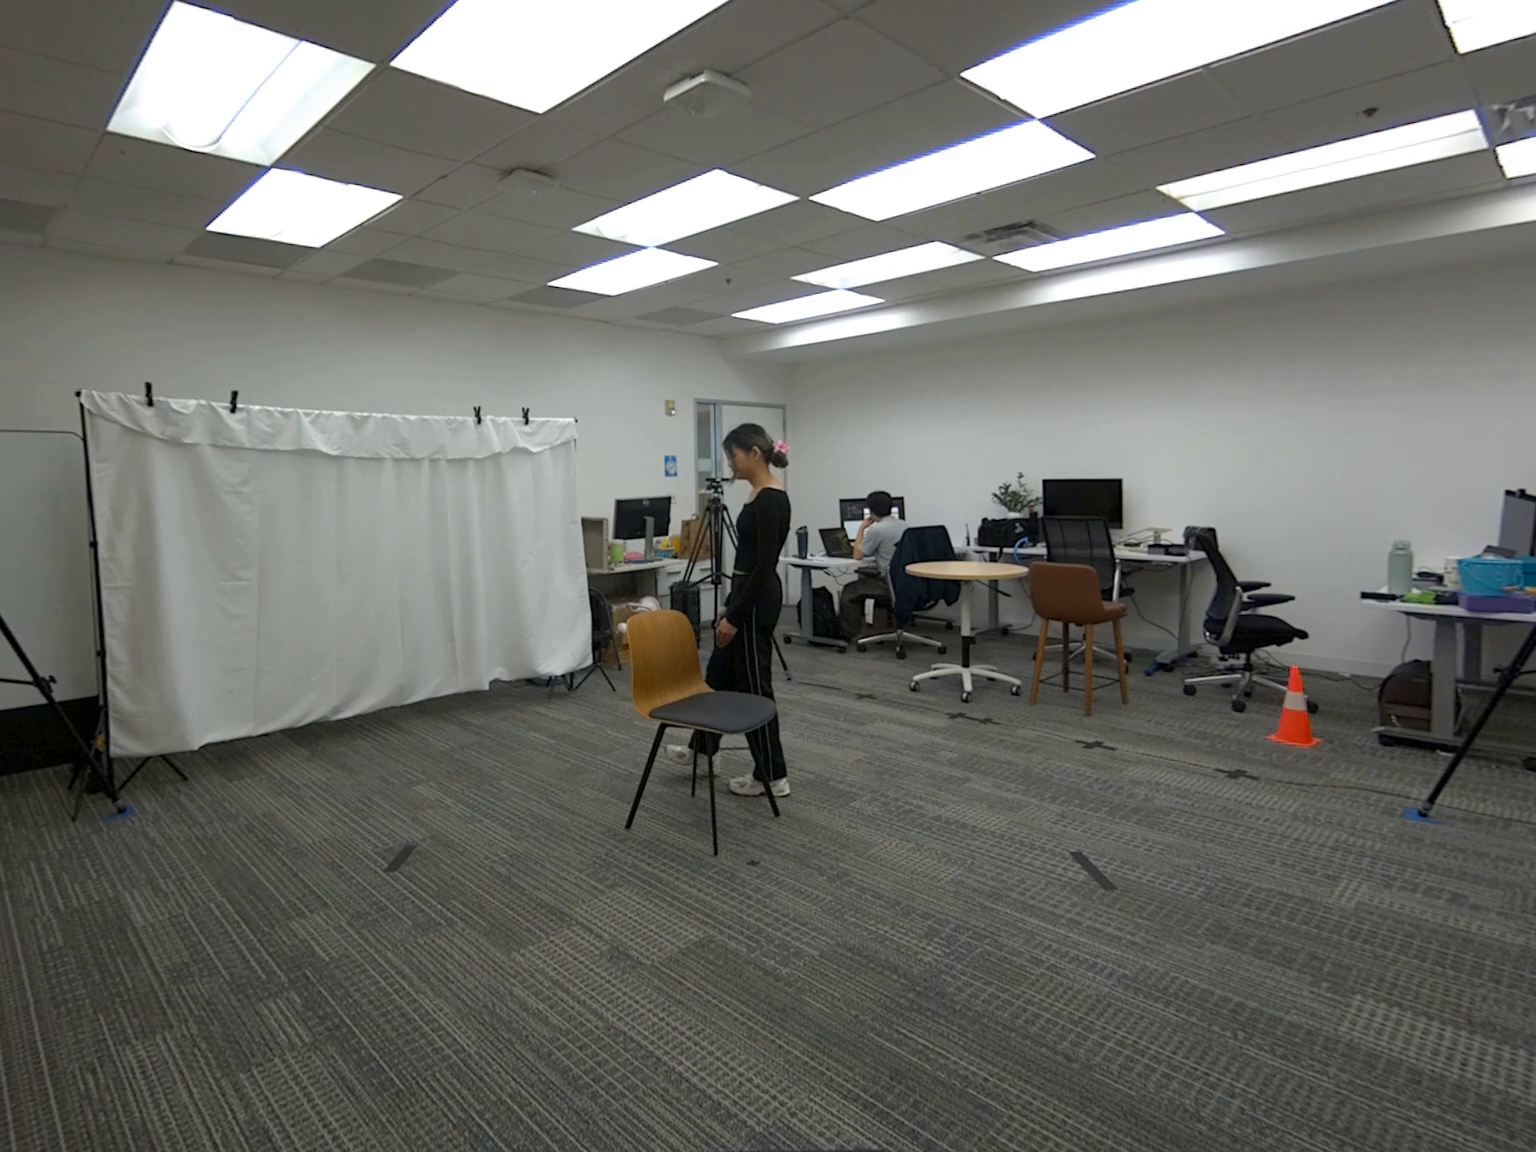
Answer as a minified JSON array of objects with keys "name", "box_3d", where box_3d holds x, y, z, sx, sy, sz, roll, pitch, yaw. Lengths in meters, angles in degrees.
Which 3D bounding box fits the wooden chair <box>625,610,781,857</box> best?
[{"name":"wooden chair","box_3d":[-0.263,0.581,3.436,0.537,0.877,0.466,-4,1,35]}]
